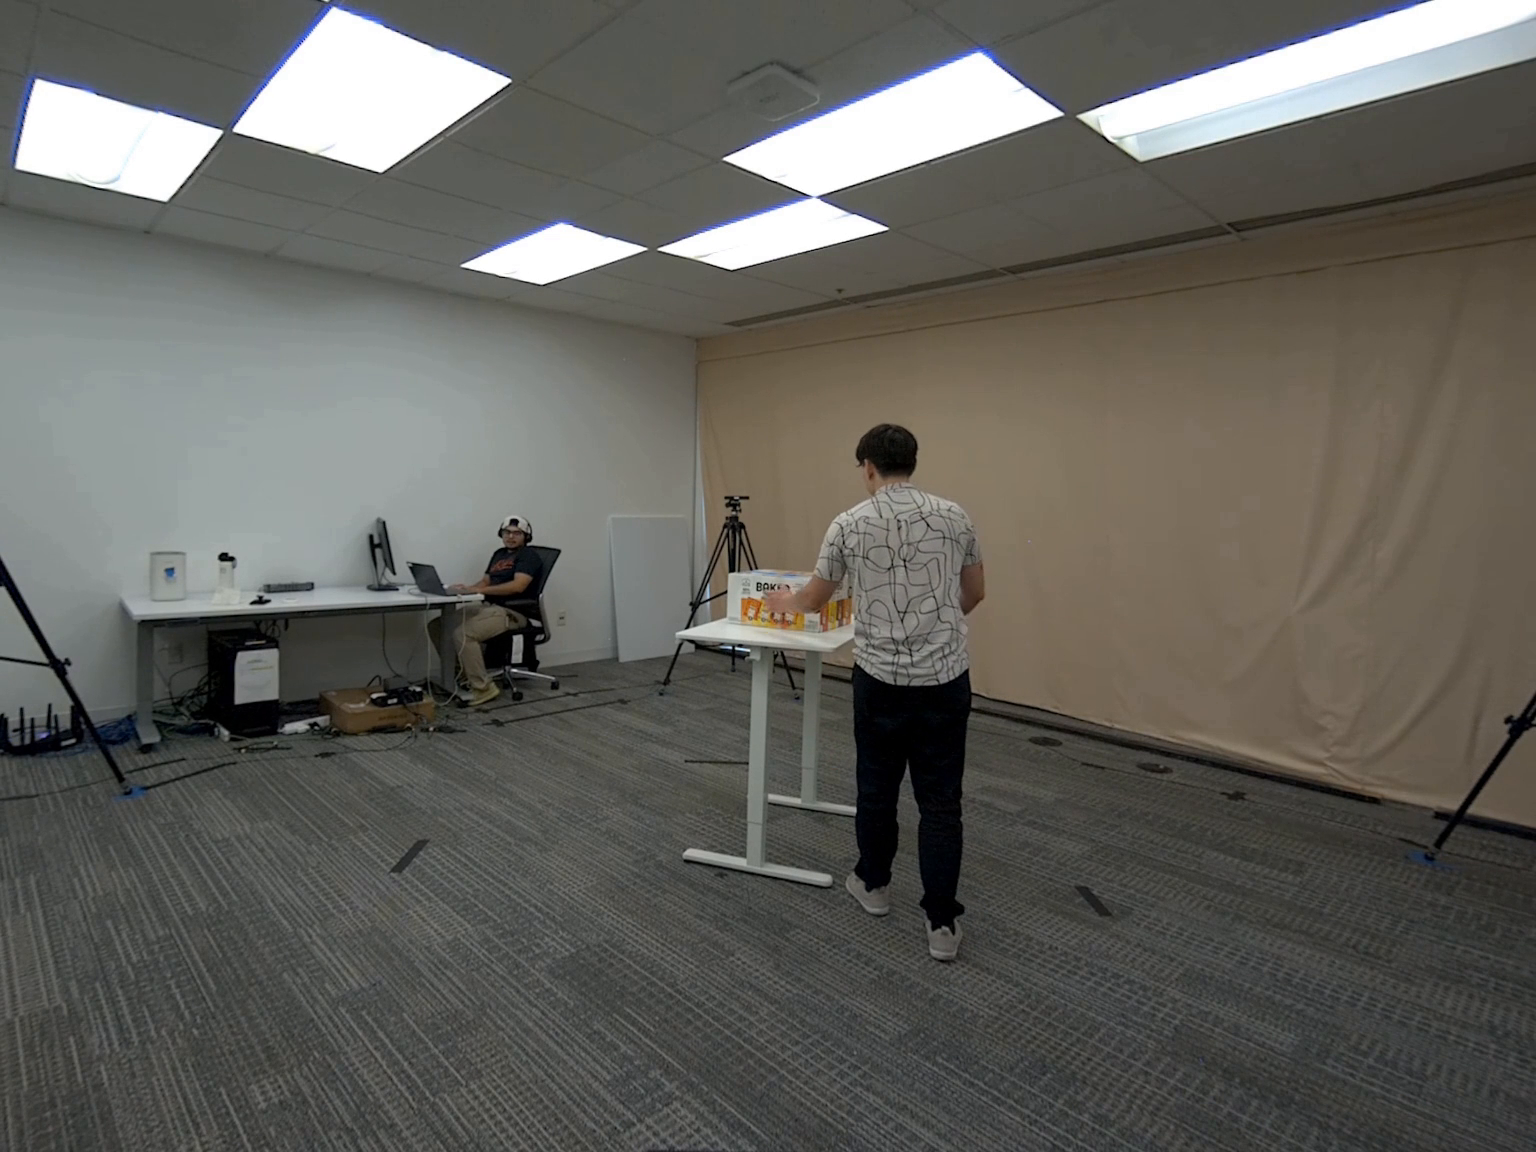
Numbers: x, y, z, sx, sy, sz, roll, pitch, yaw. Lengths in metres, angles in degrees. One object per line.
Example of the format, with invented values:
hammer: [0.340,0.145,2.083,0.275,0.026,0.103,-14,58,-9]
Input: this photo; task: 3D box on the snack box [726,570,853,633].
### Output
snack box: [0.087,0.095,3.452,0.413,0.205,0.334,4,4,27]
